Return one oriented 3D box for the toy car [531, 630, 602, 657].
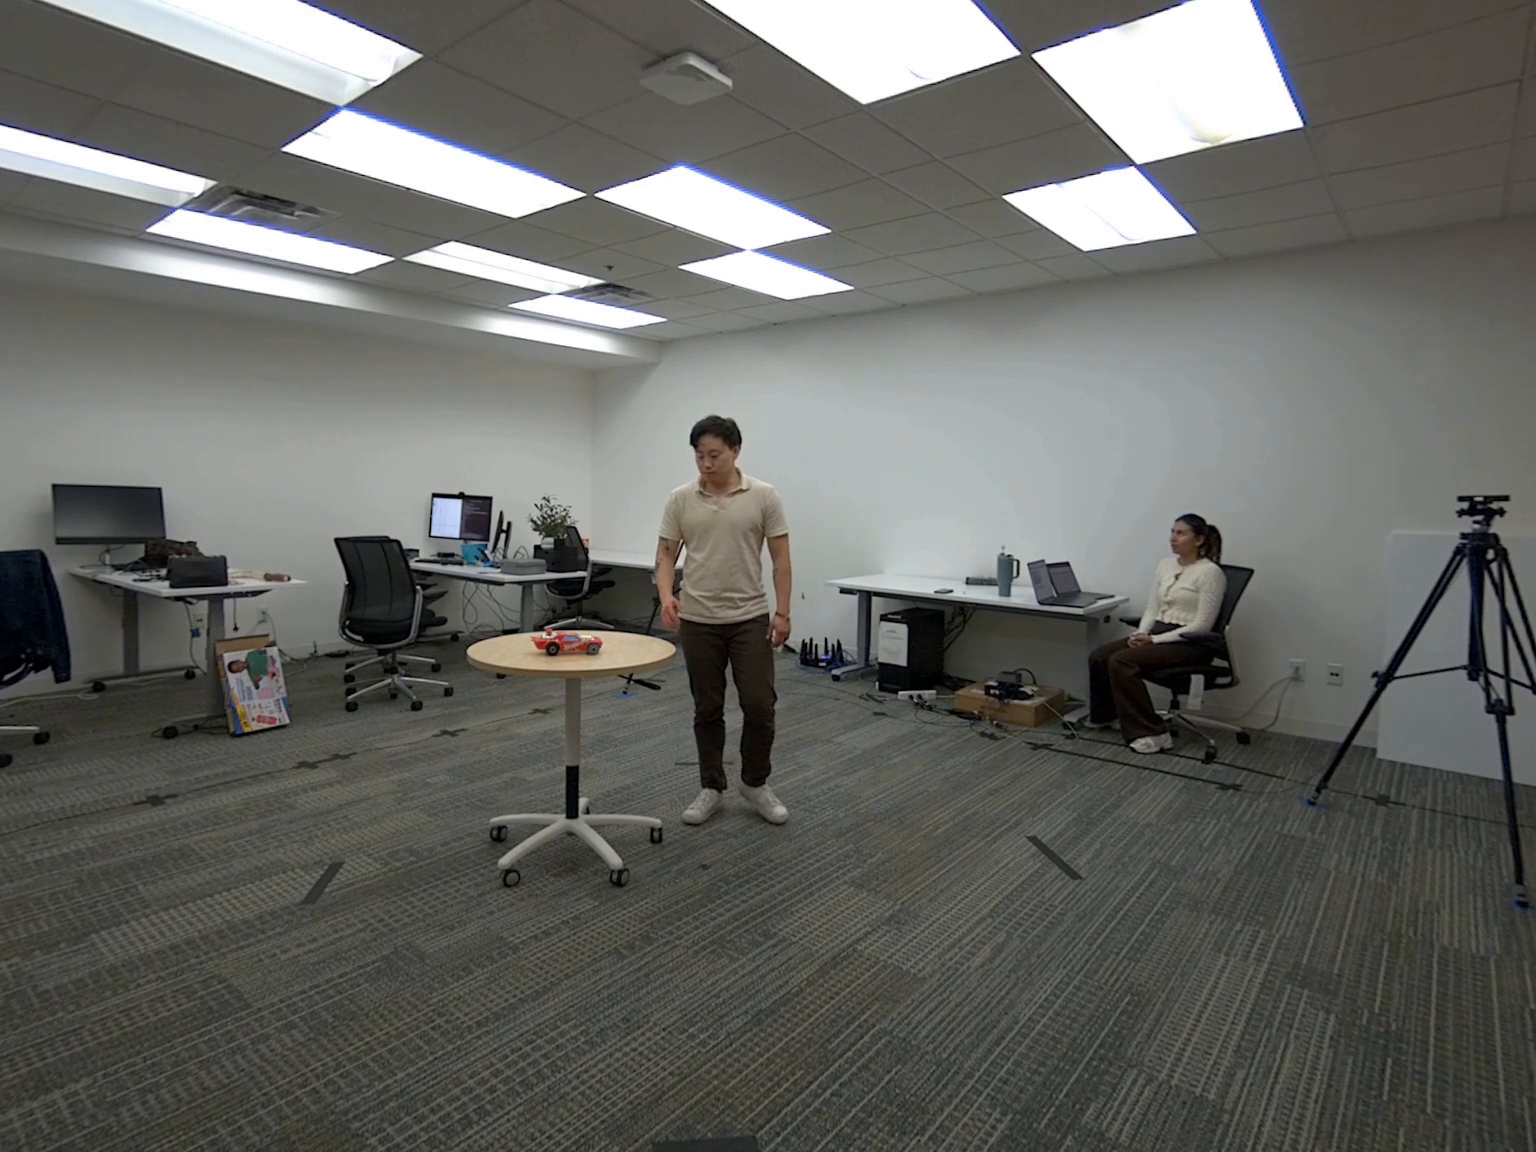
[{"bbox_3d":[-0.749,0.243,3.083,0.250,0.083,0.133,12,2,-16],"label":"toy car"}]
